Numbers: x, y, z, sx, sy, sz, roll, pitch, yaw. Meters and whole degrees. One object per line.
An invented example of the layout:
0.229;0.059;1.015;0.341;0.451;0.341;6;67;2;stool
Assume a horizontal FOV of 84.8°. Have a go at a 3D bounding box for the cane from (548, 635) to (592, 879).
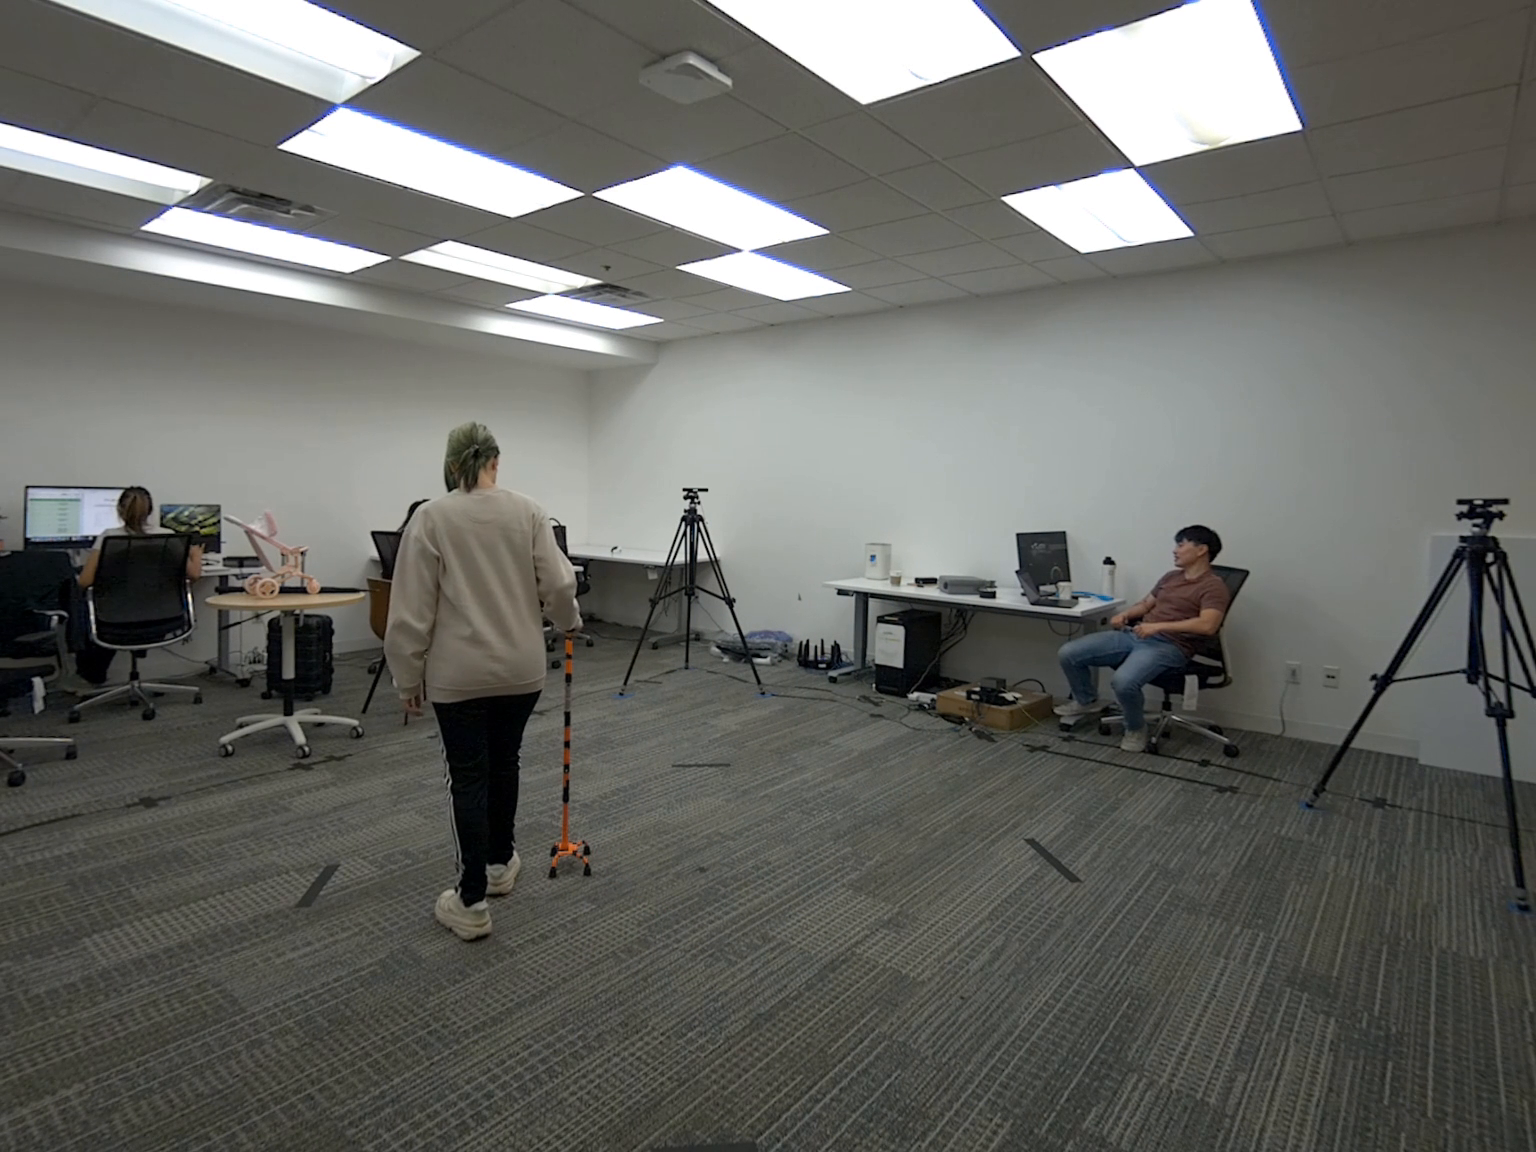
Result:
-0.730;0.608;3.107;0.149;0.906;0.210;1;2;-13;cane
